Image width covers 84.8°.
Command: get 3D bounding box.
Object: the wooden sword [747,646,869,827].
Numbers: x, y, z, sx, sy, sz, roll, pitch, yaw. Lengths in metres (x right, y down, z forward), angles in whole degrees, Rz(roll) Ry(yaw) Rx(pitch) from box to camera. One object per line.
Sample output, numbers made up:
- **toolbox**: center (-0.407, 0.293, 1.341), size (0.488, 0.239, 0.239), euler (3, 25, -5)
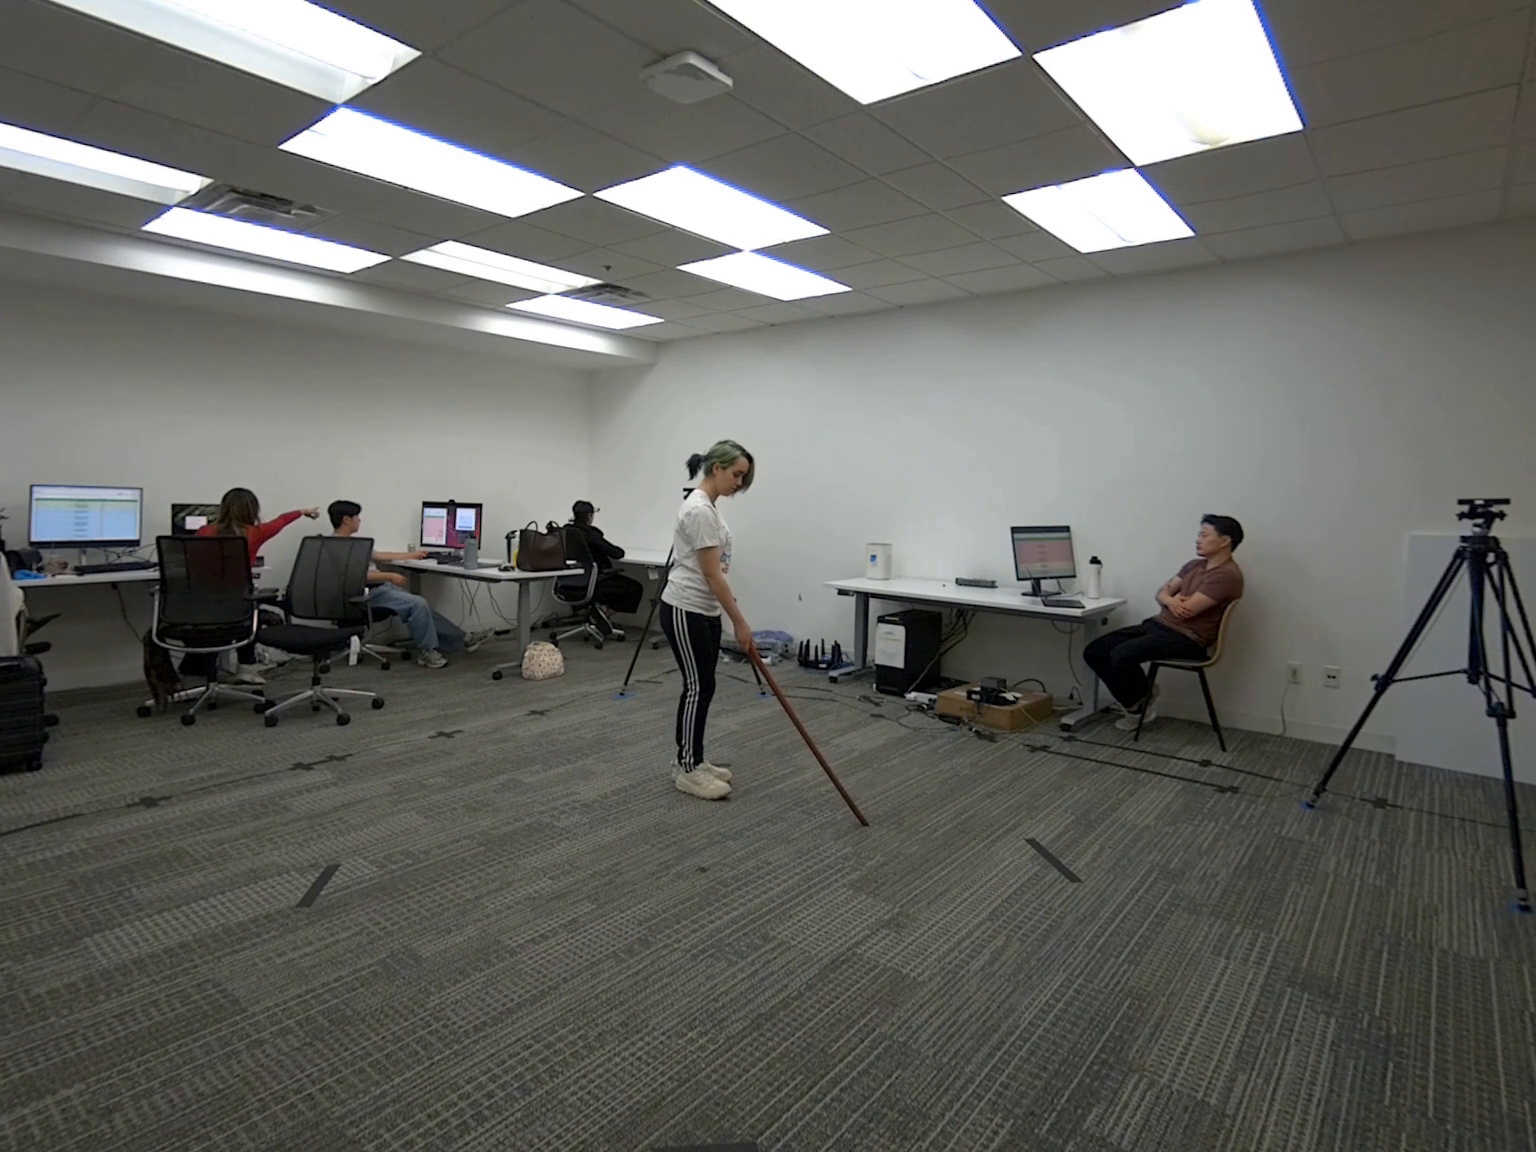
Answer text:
- **wooden sword**: center (0.119, 0.628, 3.720), size (0.024, 1.049, 0.050), euler (-43, -18, 21)
